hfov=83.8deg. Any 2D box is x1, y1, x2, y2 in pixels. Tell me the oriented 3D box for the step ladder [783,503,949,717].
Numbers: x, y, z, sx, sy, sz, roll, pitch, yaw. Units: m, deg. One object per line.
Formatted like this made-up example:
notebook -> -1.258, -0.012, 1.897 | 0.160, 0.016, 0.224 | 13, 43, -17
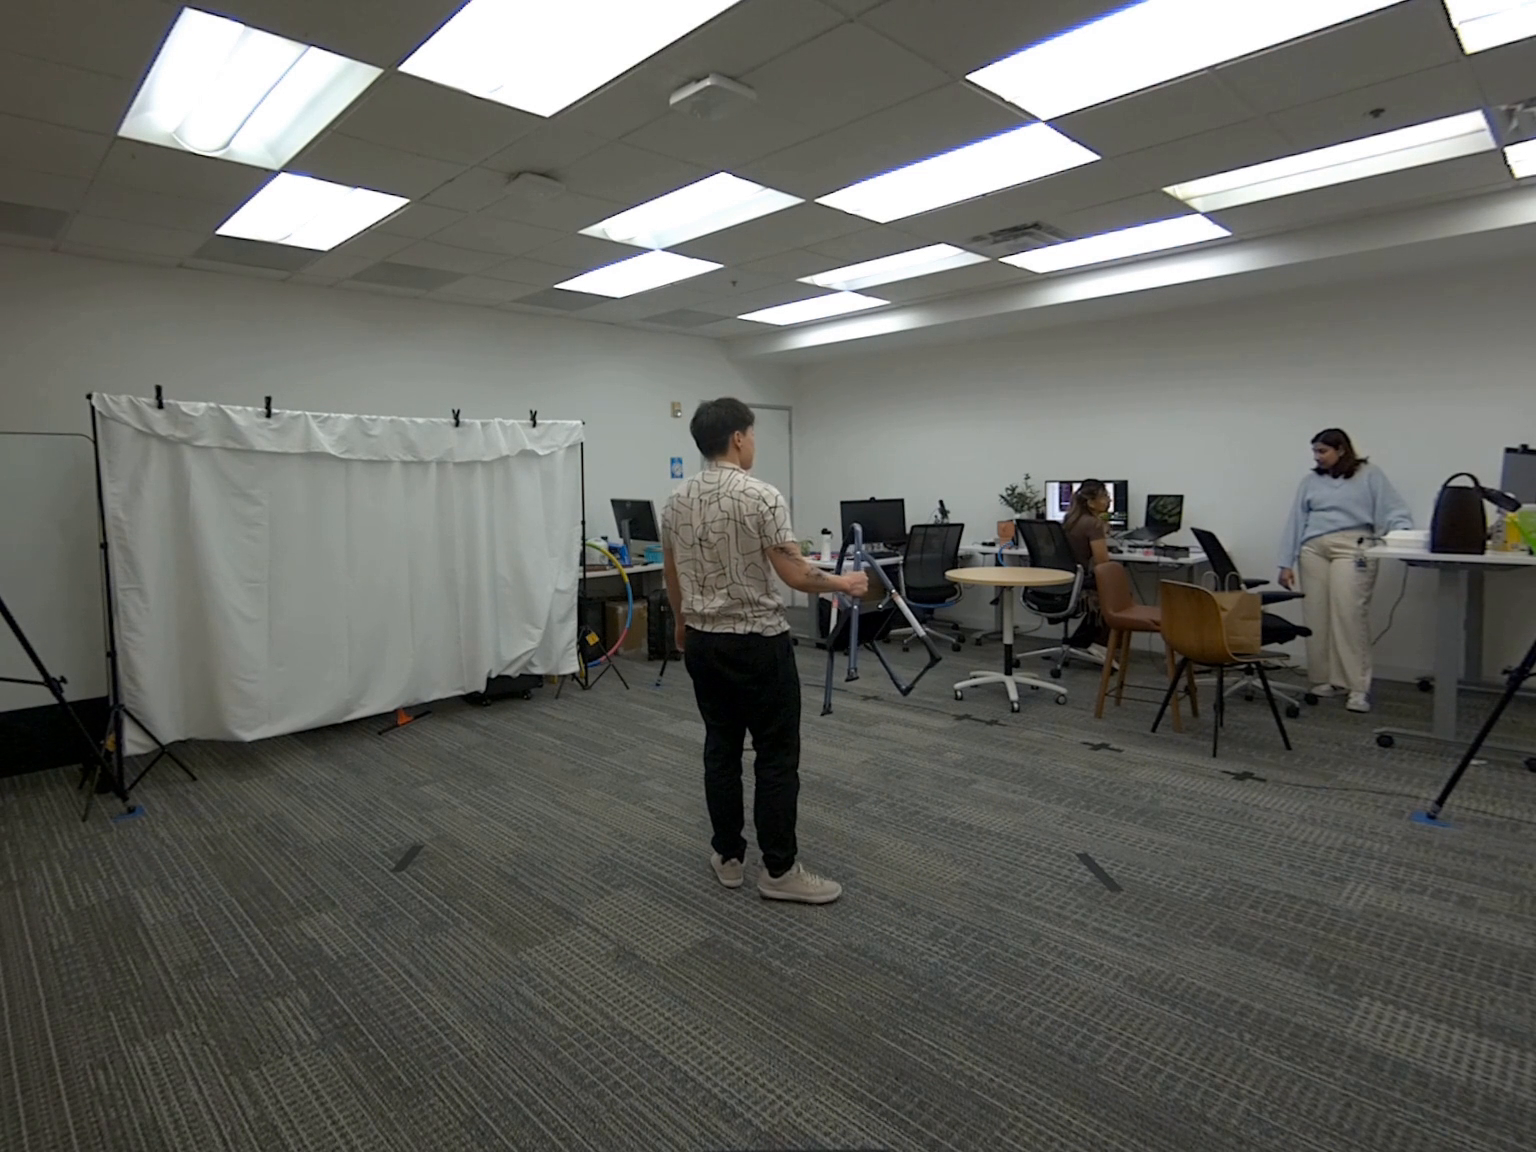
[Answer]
step ladder -> 0.320, 0.126, 3.137 | 0.346, 0.622, 0.424 | -10, -24, -12
